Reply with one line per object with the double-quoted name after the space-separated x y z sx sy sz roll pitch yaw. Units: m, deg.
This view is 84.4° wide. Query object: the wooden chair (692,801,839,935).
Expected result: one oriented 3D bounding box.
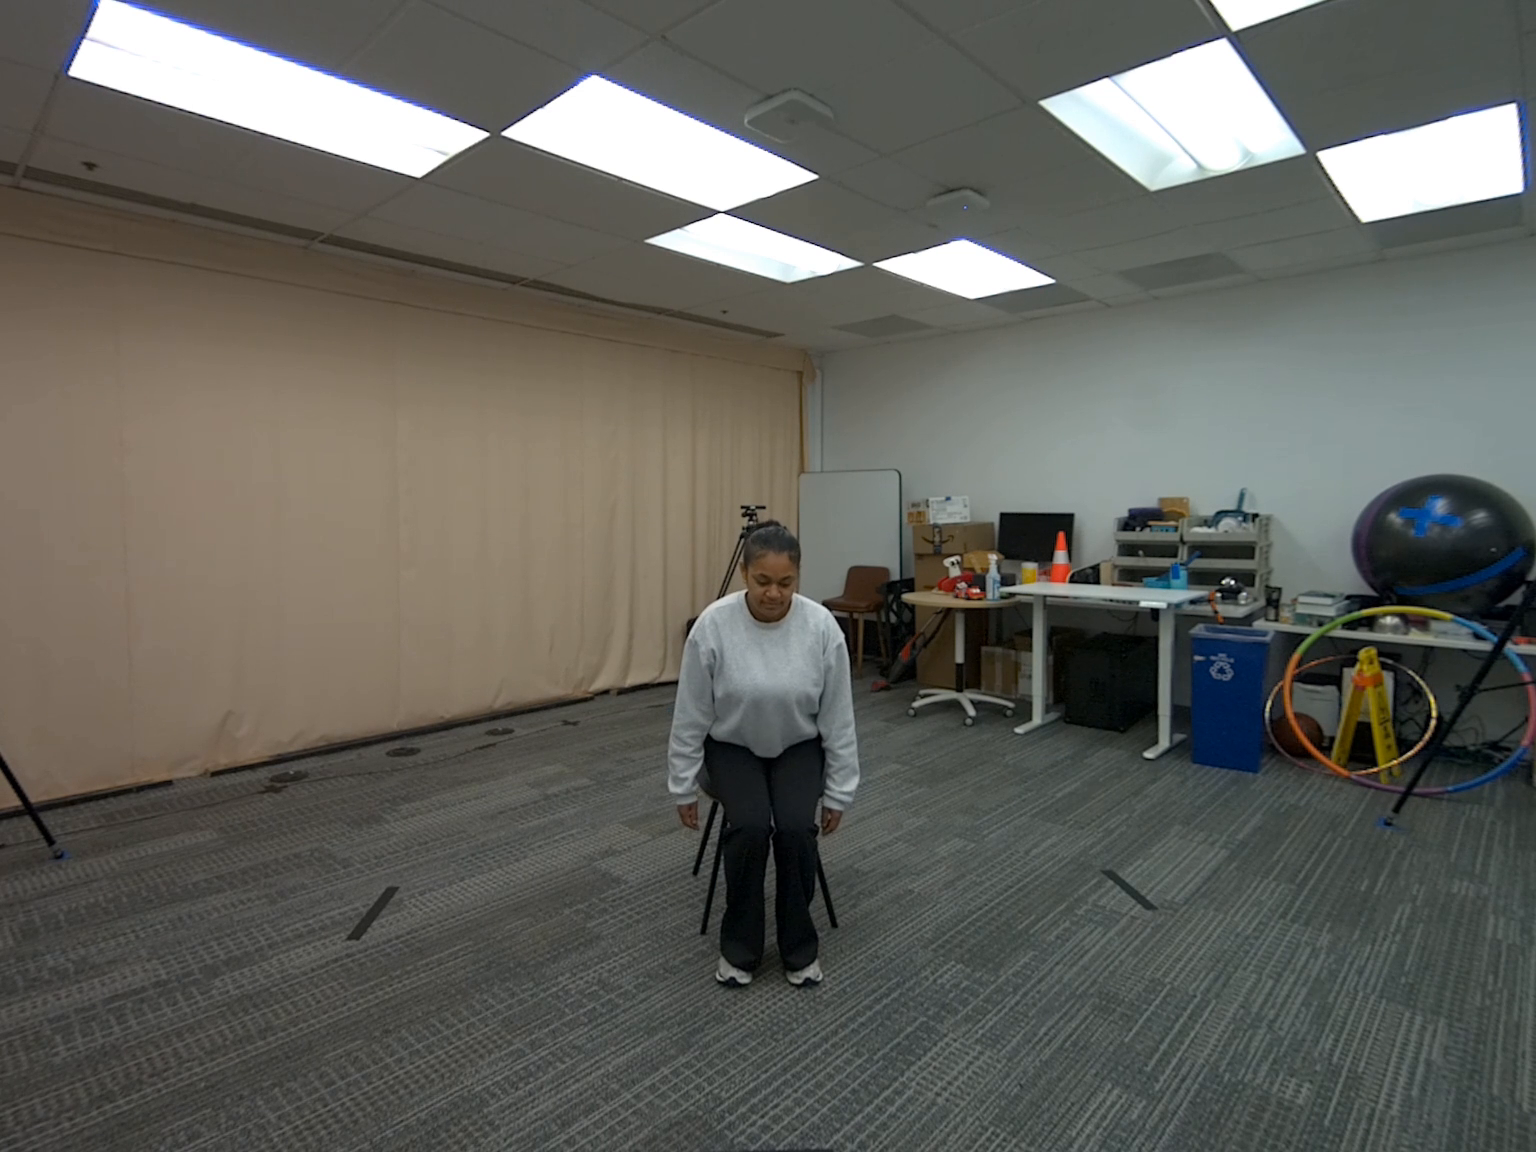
-0.024 0.717 2.939 0.474 0.877 0.527 0 0 -8 "wooden chair"
